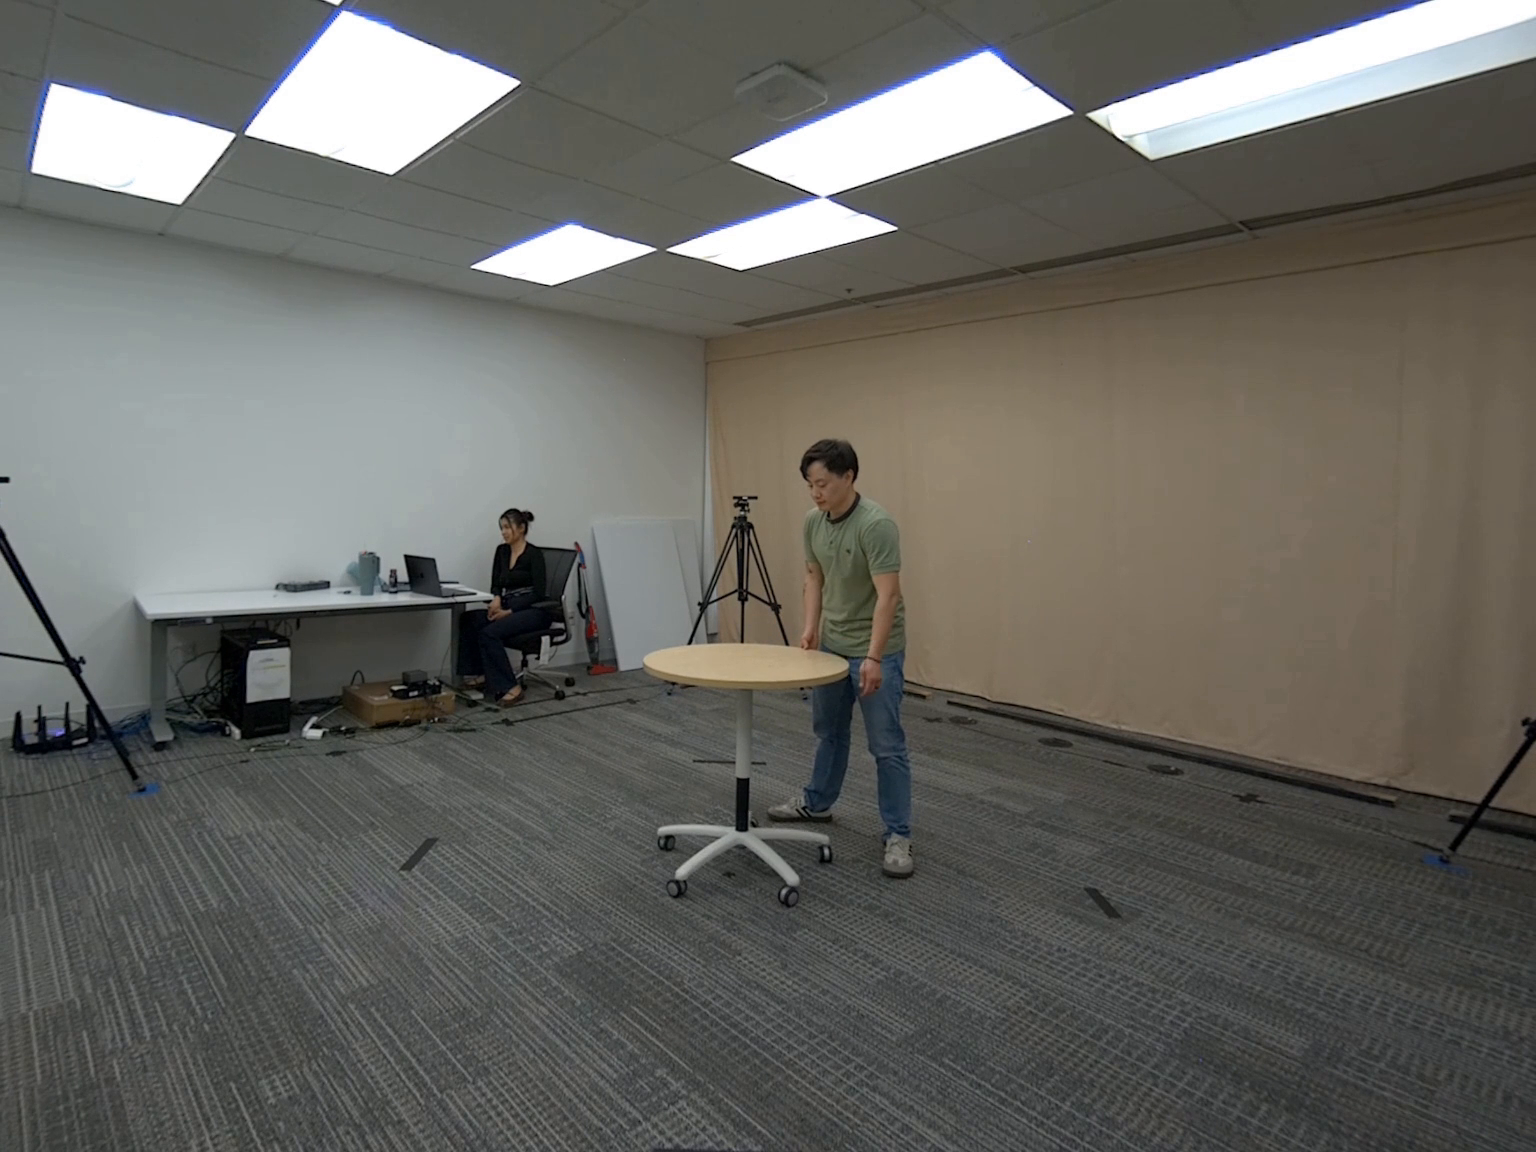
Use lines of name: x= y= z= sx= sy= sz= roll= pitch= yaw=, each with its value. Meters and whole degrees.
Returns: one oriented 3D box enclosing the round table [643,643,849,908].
round table: x=-0.098 y=0.708 z=3.156 sx=0.763 sy=0.792 sz=0.766 roll=2 pitch=4 yaw=-1
